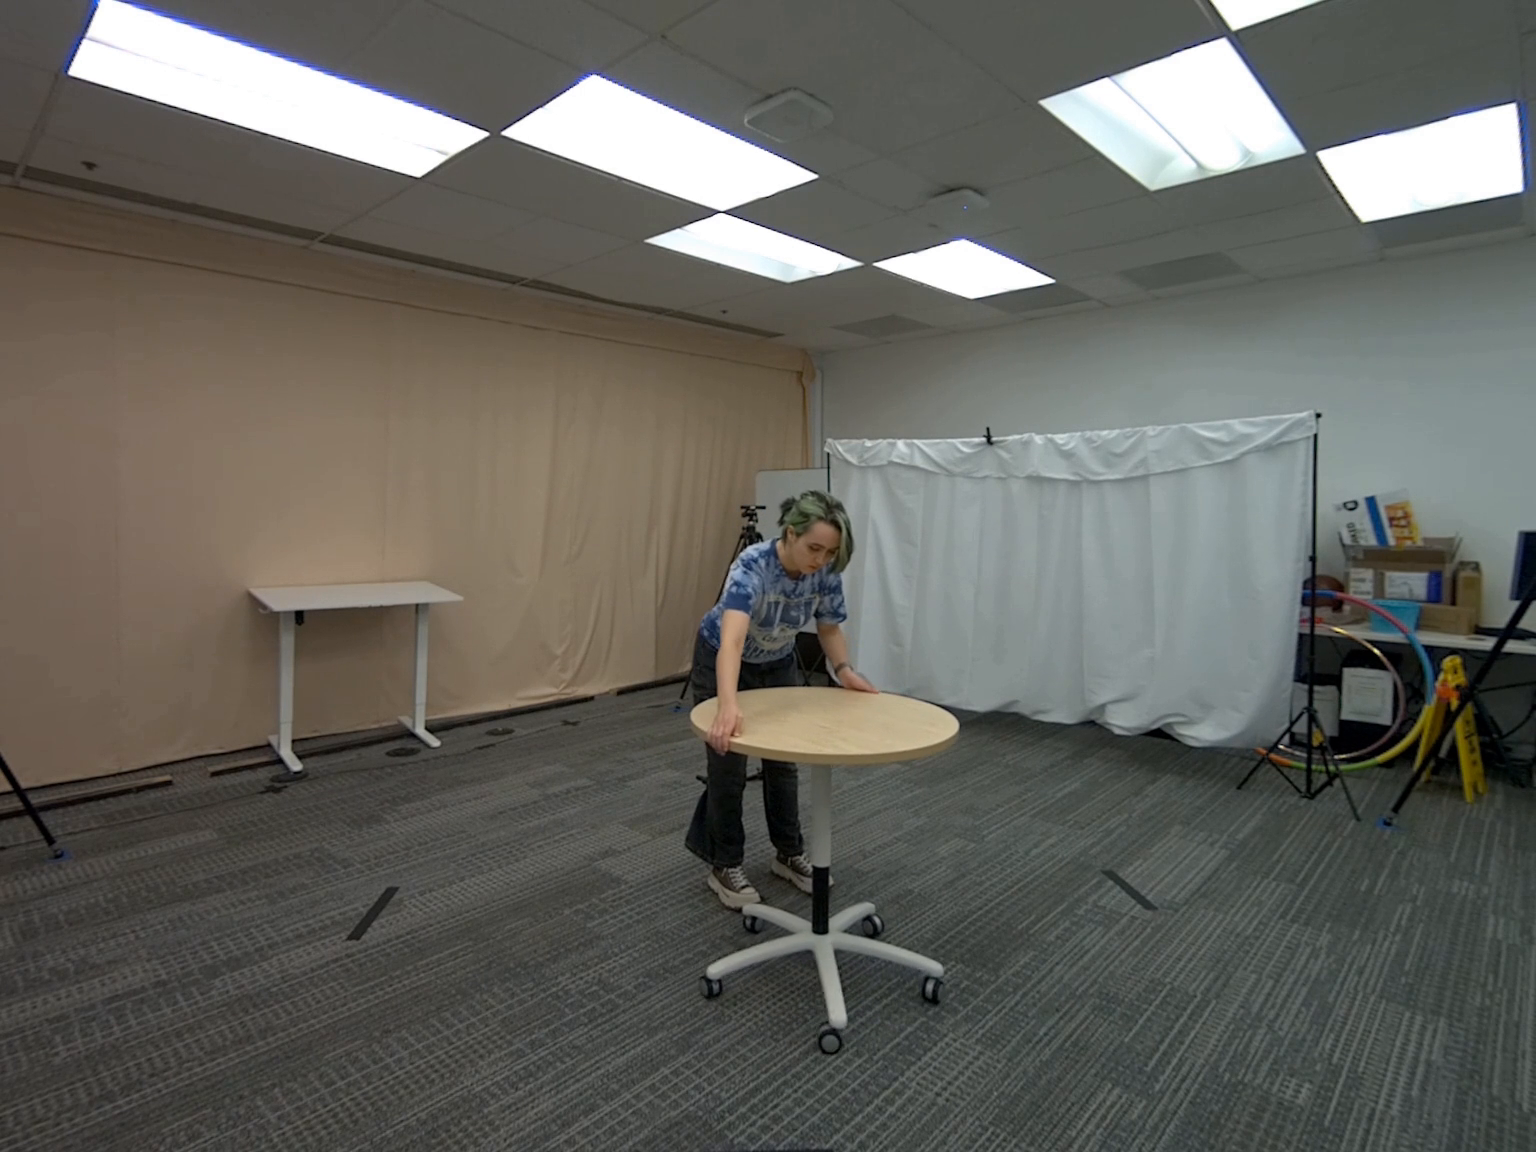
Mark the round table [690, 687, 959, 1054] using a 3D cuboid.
[{"bbox_3d":[0.164,0.800,2.465,0.763,0.792,0.767,0,4,-2],"label":"round table"}]
